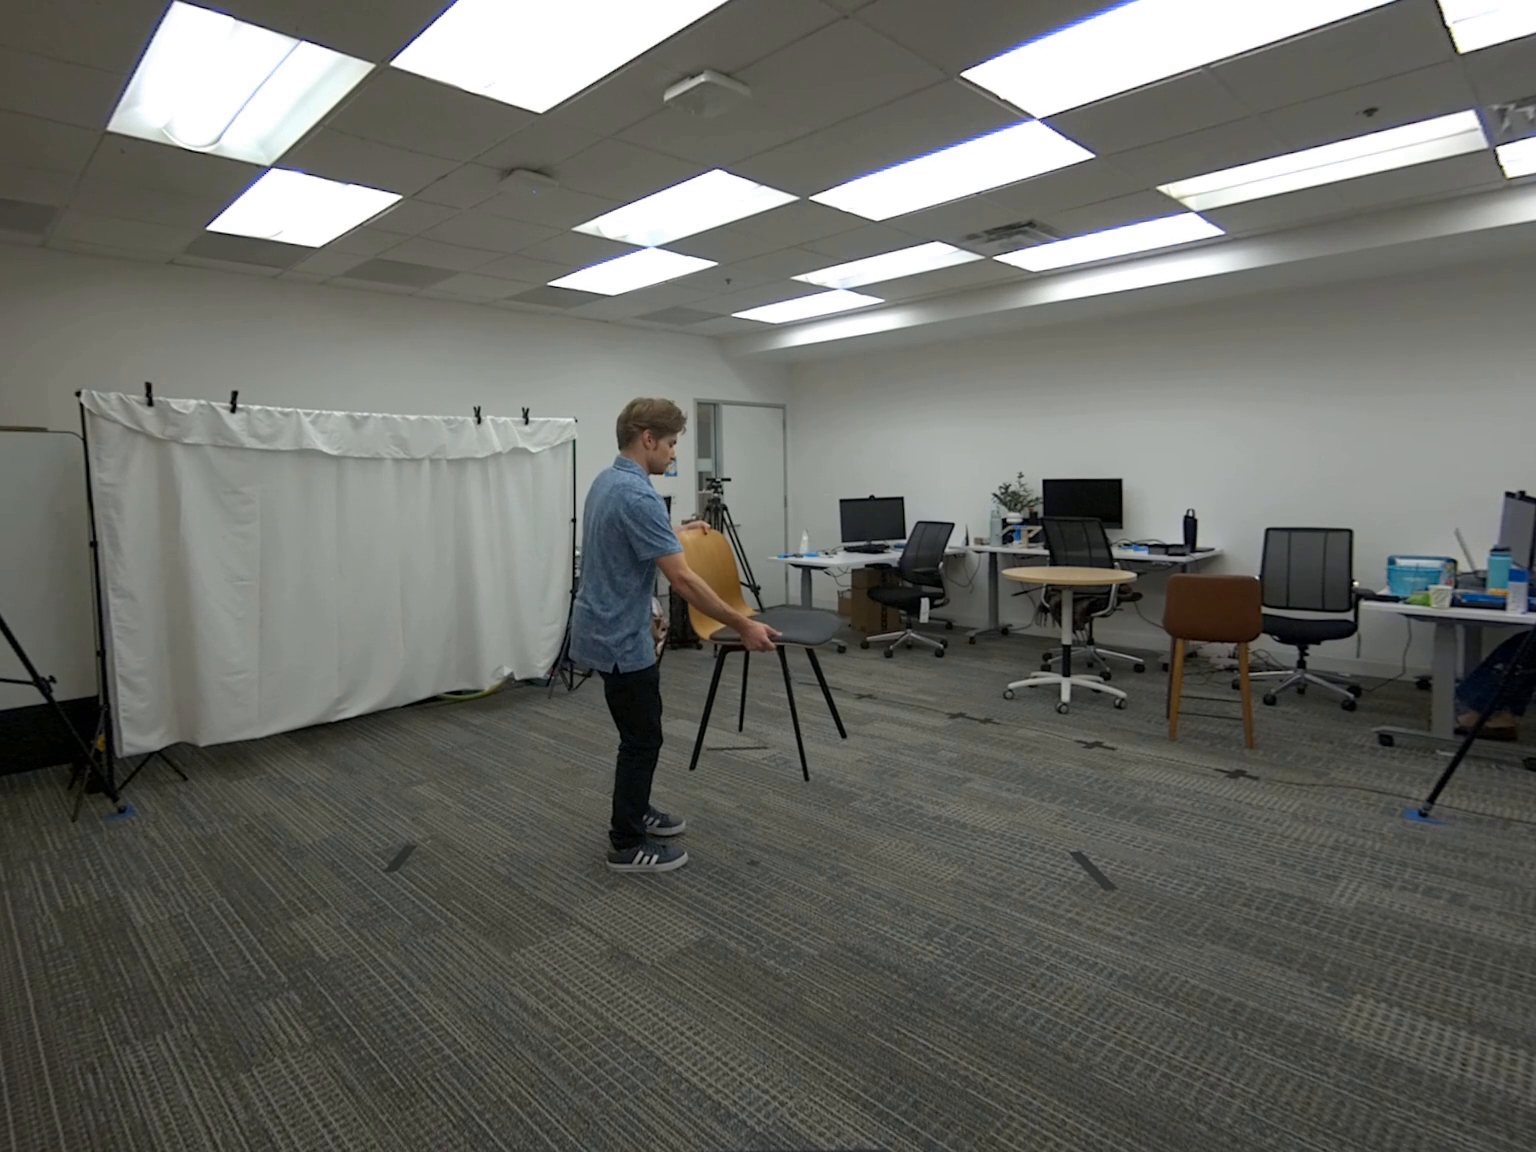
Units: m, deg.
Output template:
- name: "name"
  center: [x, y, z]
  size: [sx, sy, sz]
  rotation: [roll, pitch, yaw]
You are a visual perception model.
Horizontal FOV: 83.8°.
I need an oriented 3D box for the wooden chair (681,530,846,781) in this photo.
- name: "wooden chair"
  center: [-0.015, 0.240, 3.143]
  size: [0.534, 0.875, 0.470]
  rotation: [-6, 4, 25]
